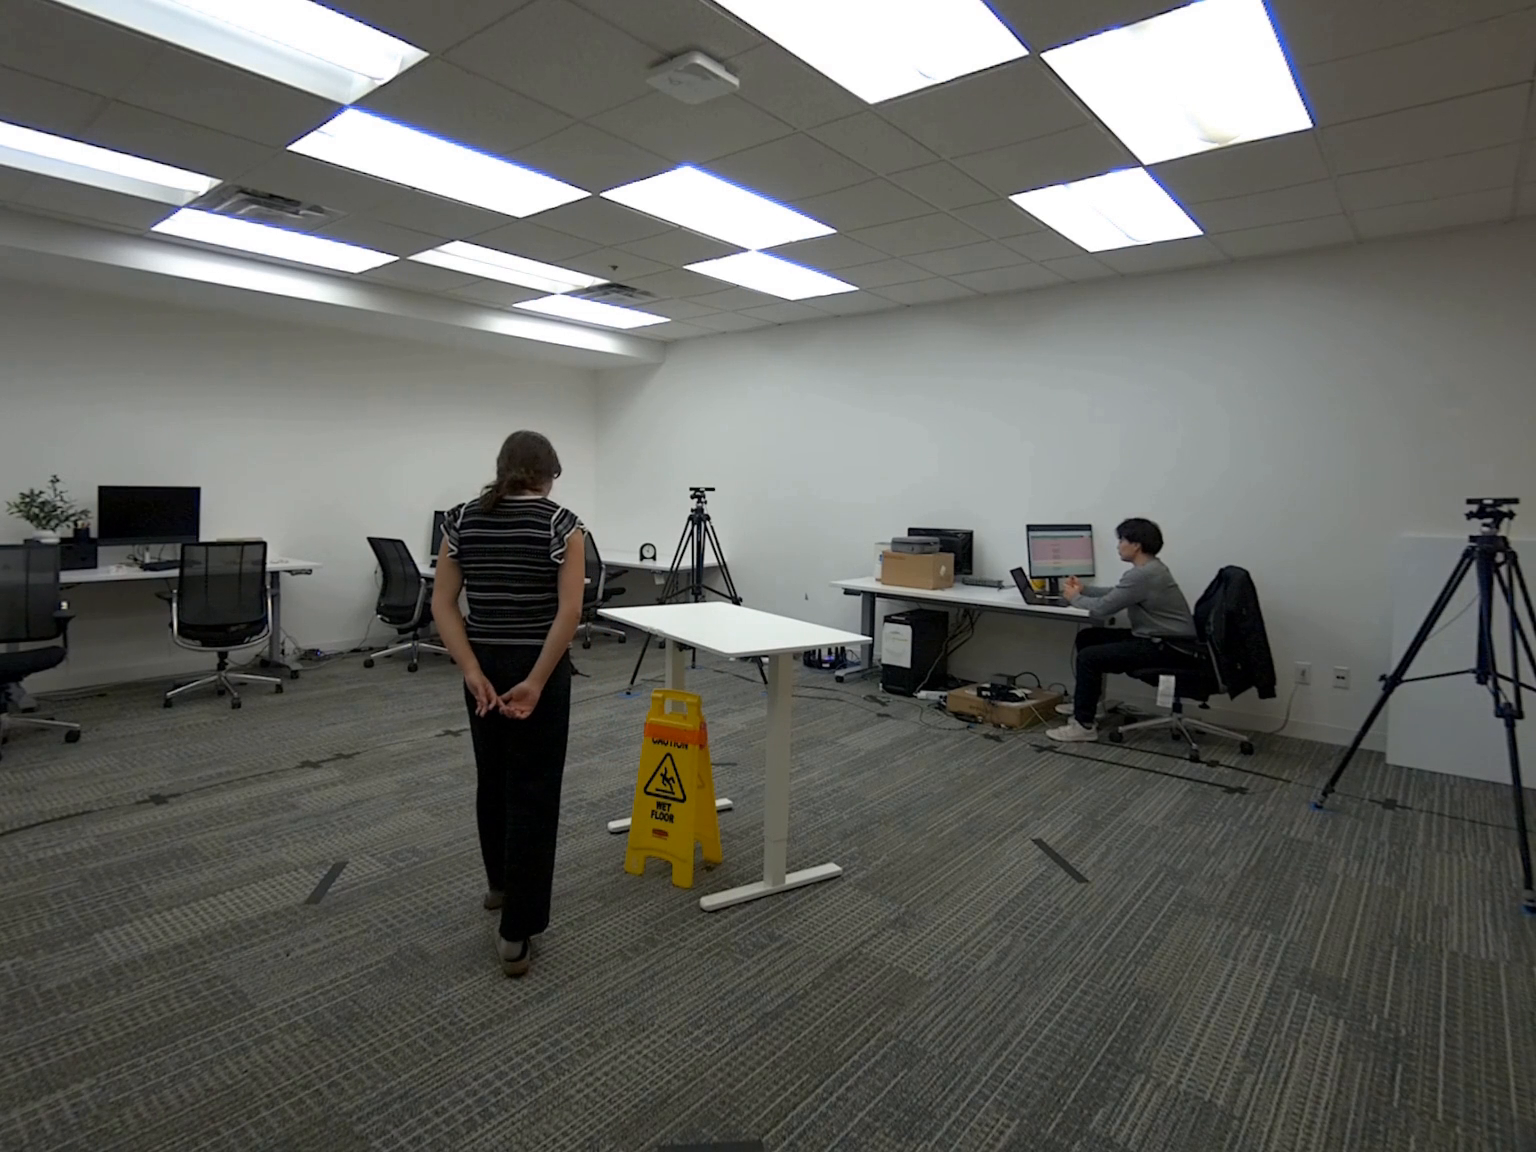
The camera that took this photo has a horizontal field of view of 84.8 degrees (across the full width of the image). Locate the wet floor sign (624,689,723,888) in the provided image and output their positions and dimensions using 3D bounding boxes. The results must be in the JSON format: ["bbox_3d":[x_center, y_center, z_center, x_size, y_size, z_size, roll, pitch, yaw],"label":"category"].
[{"bbox_3d":[-0.350,0.740,3.103,0.290,0.644,0.283,2,3,27],"label":"wet floor sign"}]
